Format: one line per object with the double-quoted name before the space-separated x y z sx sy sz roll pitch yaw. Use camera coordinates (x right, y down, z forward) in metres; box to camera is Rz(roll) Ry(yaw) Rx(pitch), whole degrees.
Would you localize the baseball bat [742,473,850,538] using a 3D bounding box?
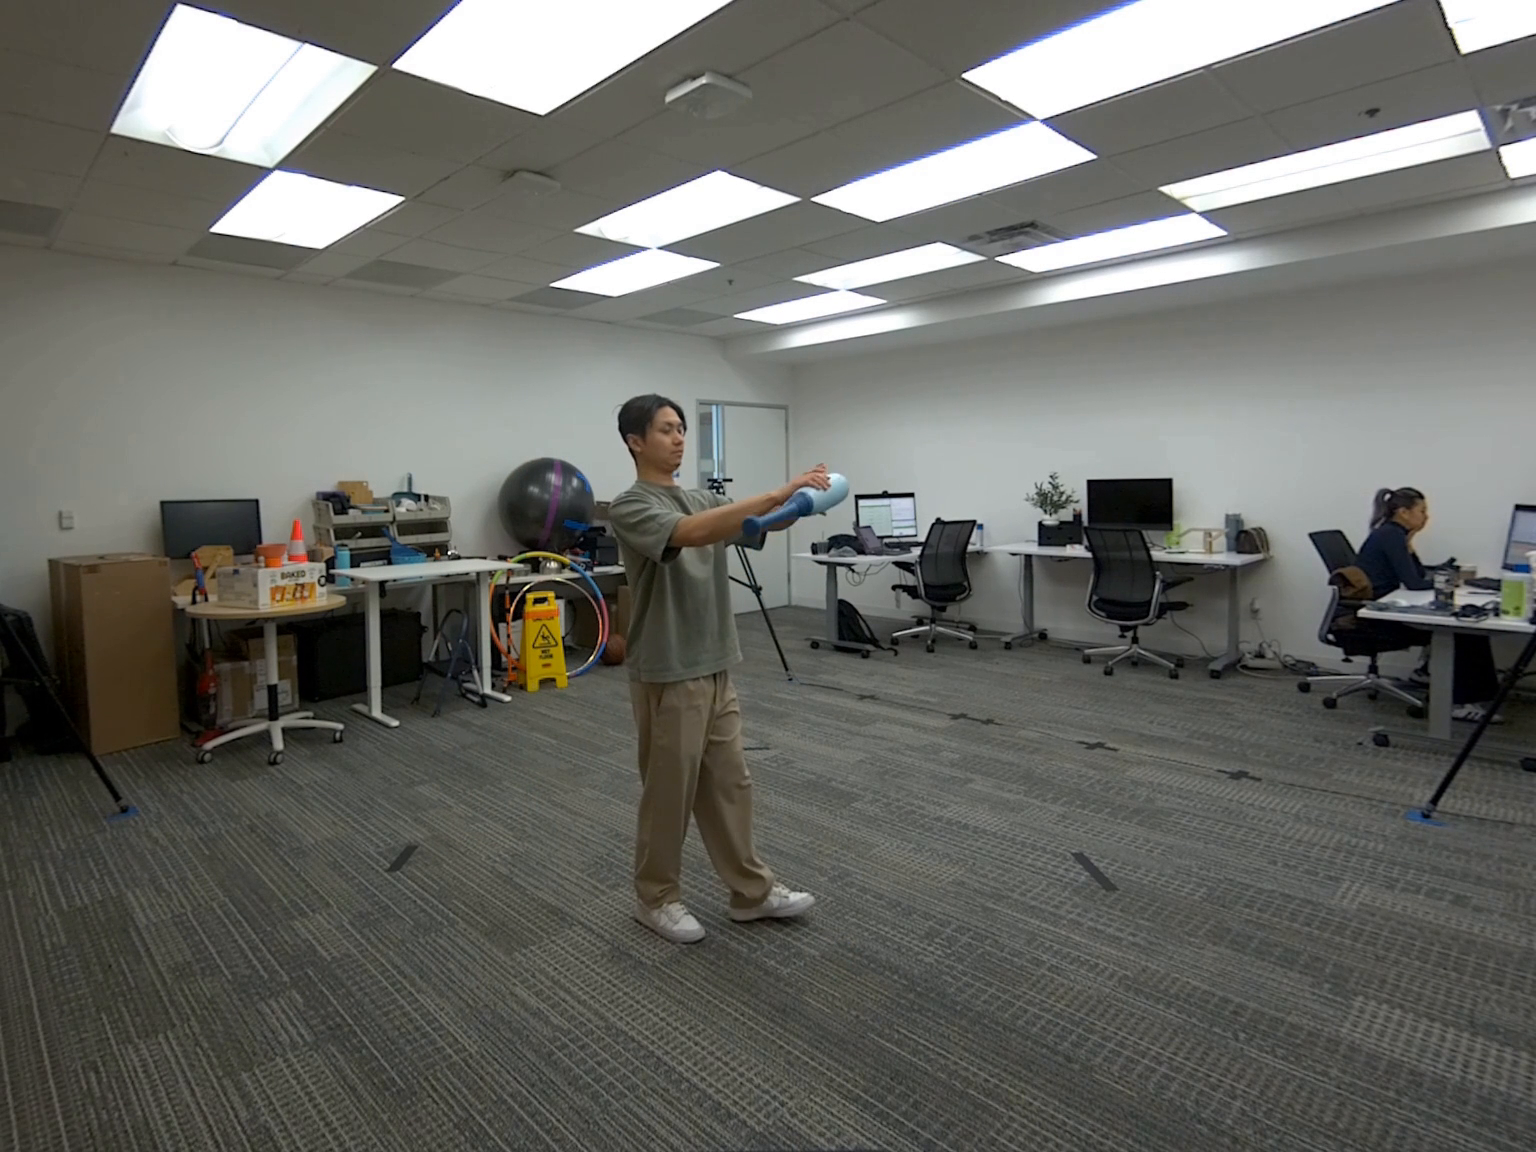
"baseball bat" 0.085 -0.188 2.219 0.091 0.088 0.537 1 17 27
